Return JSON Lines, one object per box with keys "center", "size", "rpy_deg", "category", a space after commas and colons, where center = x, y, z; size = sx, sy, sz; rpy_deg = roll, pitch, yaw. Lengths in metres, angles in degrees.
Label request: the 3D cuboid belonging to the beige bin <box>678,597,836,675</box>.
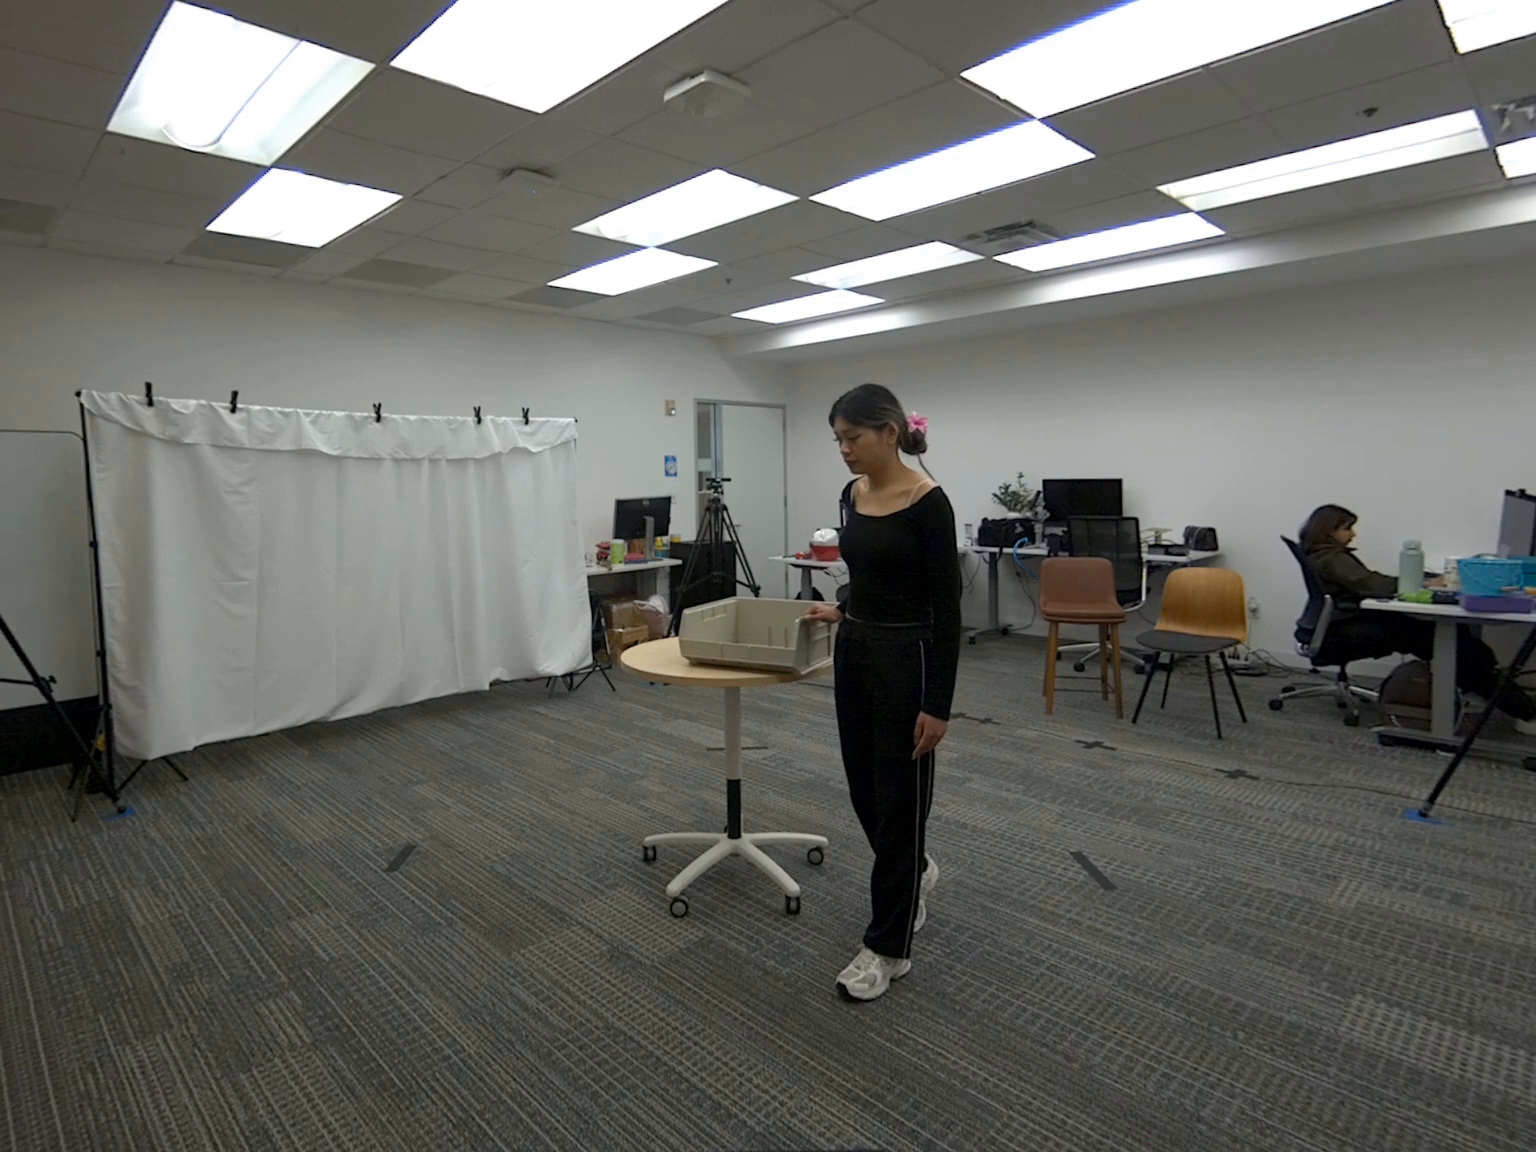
{"center": [-0.016, 0.190, 2.806], "size": [0.433, 0.188, 0.369], "rpy_deg": [1, 4, 28], "category": "beige bin"}
